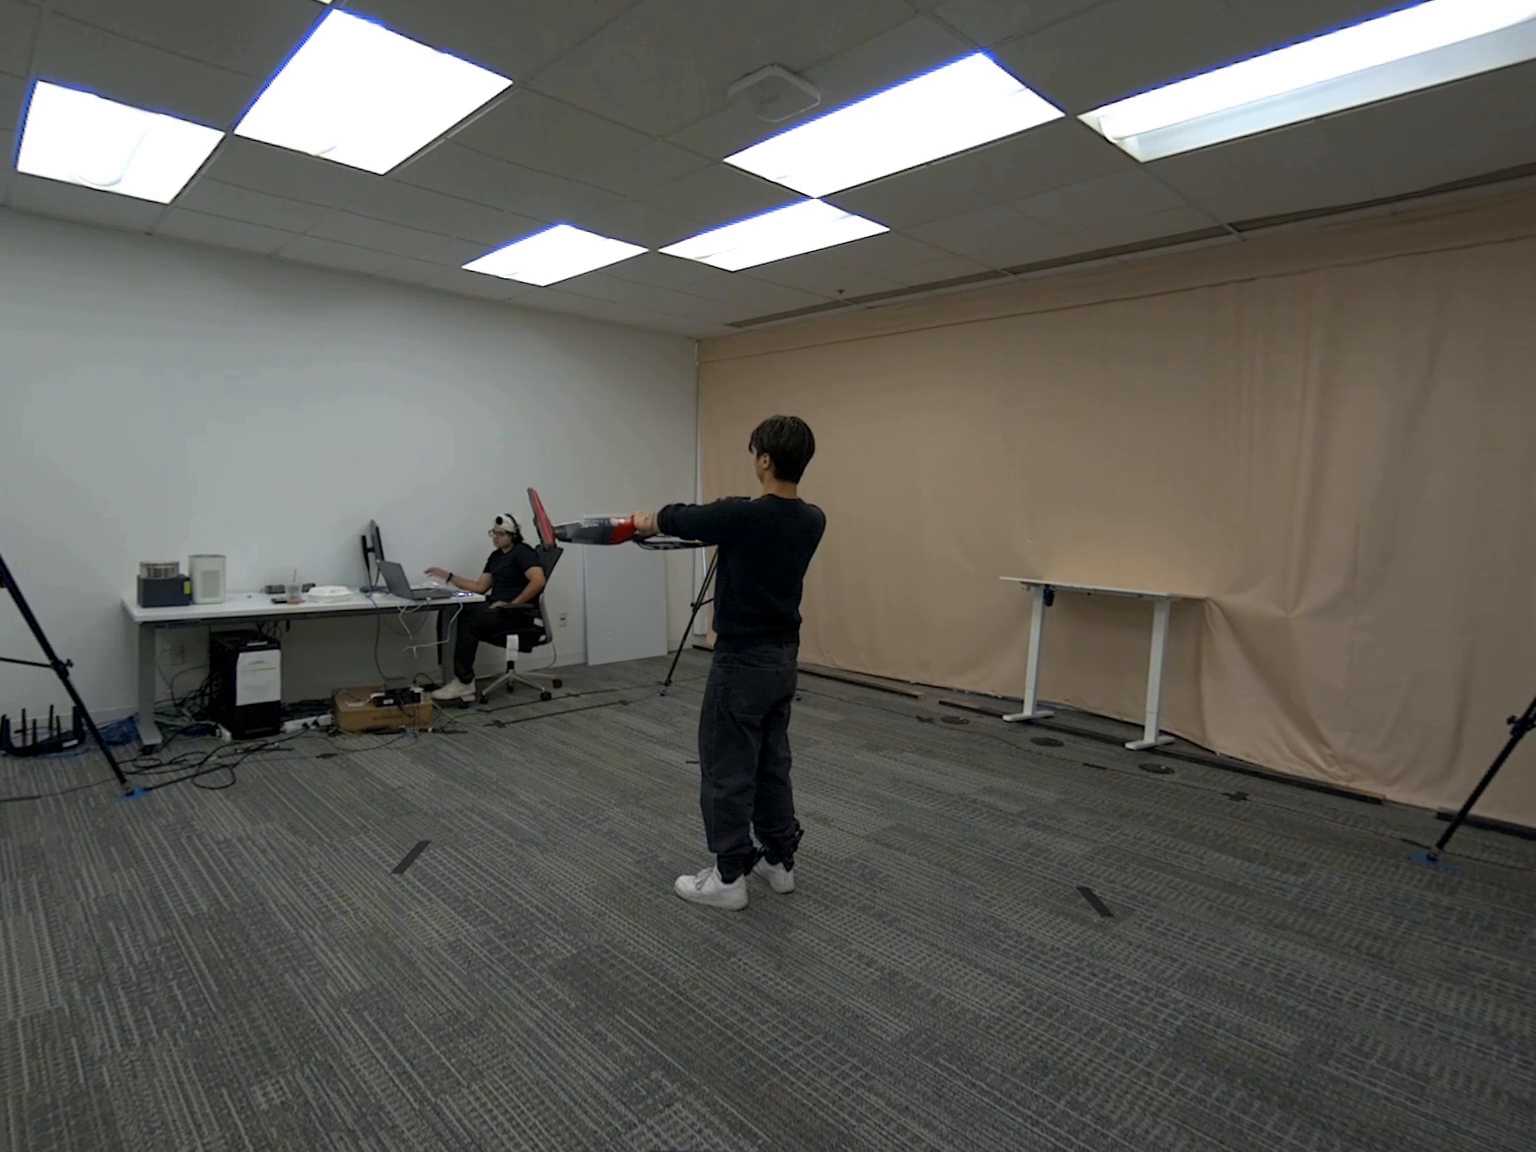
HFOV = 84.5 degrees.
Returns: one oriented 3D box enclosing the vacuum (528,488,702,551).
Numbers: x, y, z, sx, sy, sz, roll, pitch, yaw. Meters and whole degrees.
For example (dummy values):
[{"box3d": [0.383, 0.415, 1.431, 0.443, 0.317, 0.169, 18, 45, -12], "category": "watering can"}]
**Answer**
[{"box3d": [-0.420, -0.169, 3.293, 1.024, 0.259, 0.143, 1, -42, -42], "category": "vacuum"}]
